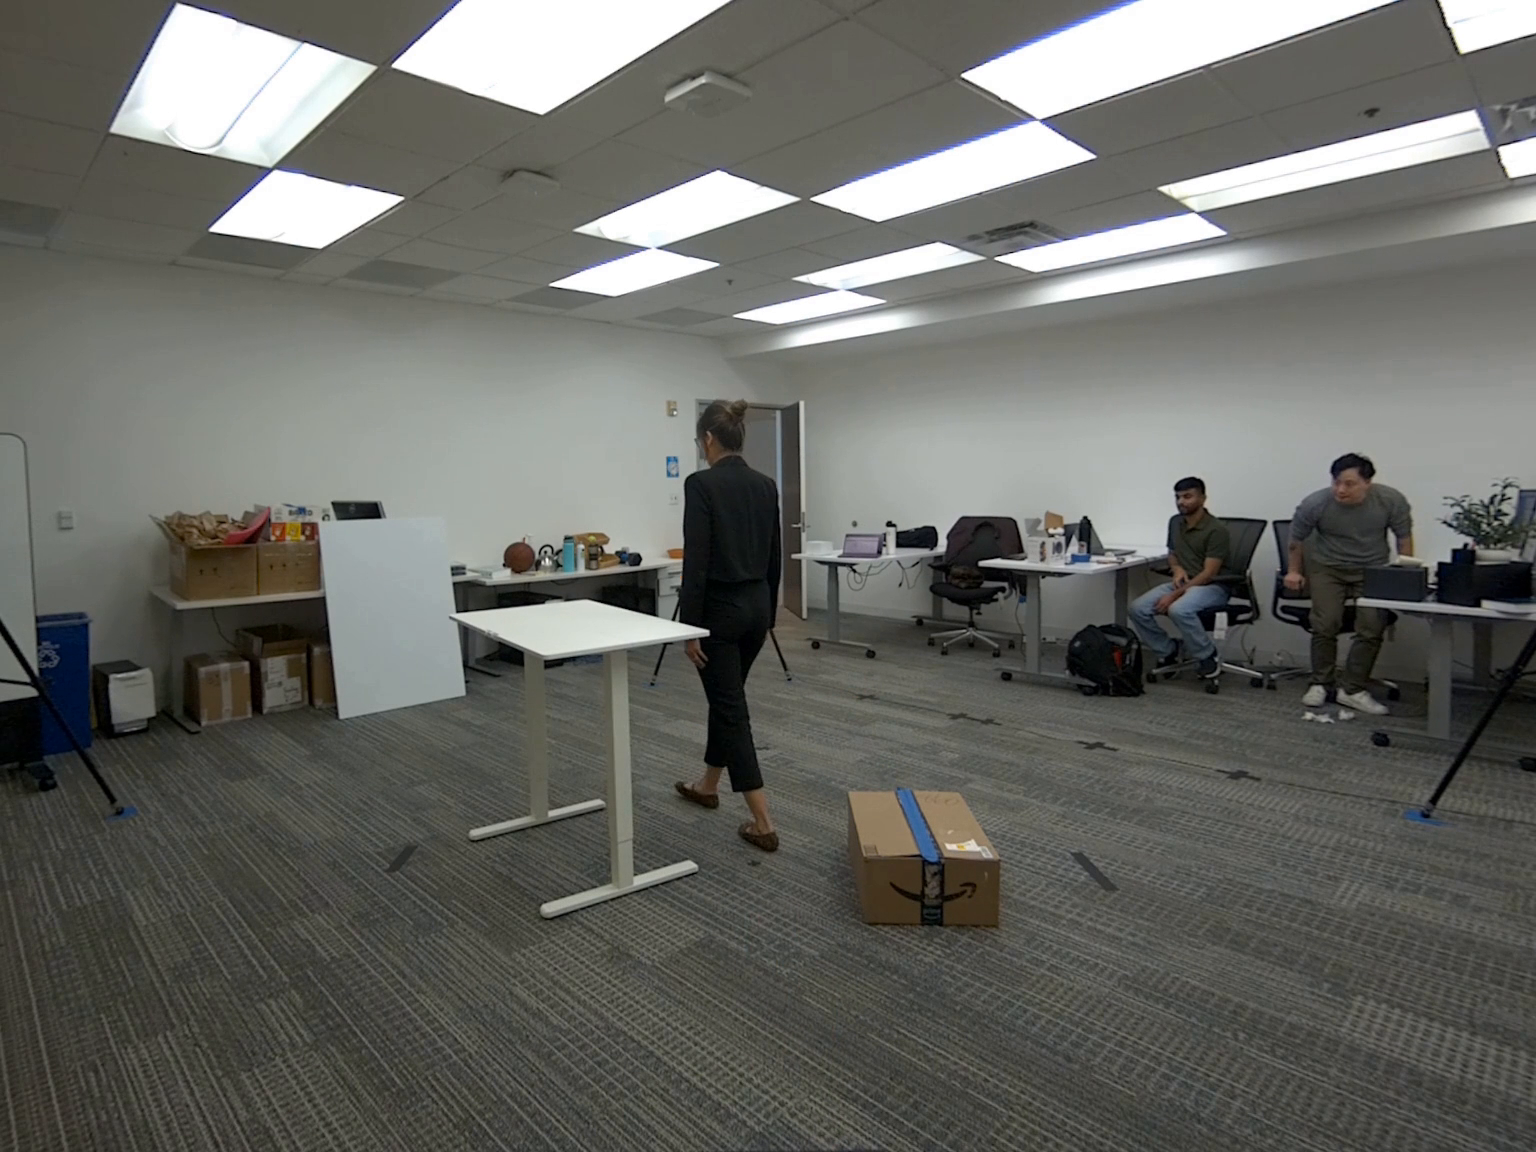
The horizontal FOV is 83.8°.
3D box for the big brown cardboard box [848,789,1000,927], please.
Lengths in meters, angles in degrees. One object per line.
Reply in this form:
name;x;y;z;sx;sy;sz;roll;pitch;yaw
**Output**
big brown cardboard box;0.511;0.949;2.919;0.418;0.232;0.590;0;5;1
